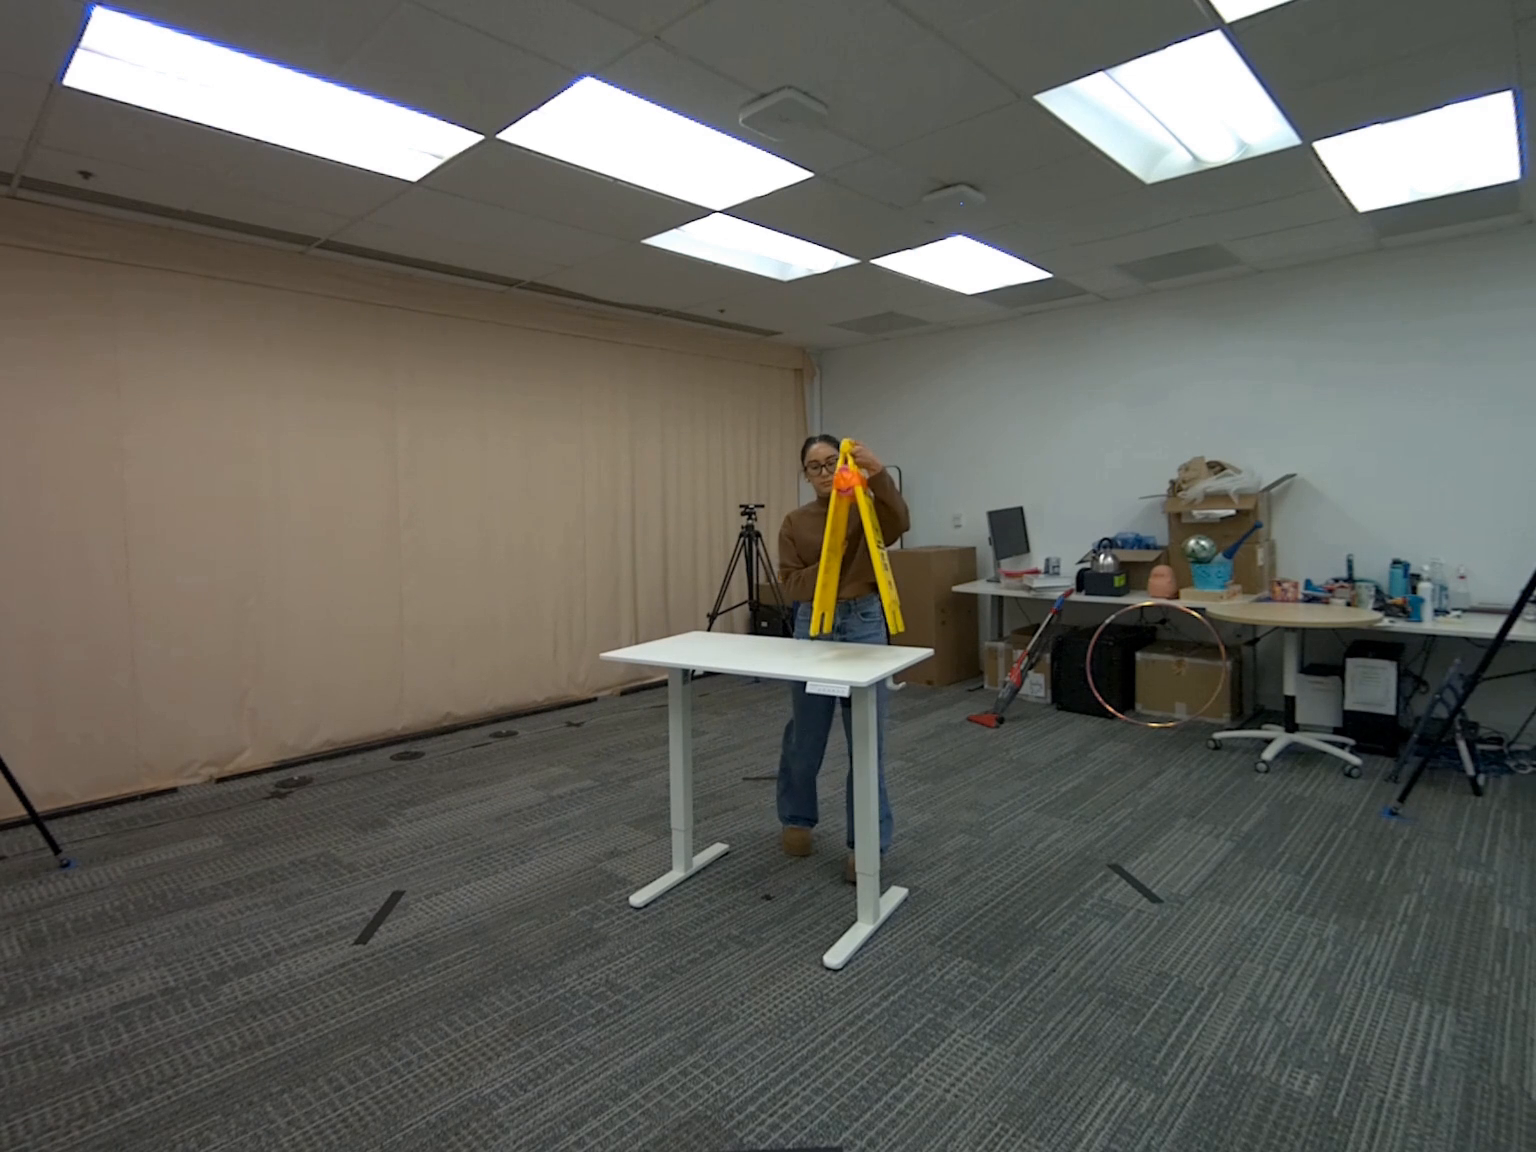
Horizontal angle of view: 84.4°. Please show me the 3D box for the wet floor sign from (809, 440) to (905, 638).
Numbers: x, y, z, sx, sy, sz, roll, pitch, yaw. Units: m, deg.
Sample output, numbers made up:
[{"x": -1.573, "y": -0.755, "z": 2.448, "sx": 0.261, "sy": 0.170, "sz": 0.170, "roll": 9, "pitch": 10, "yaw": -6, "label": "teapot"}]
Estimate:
[{"x": 0.297, "y": -0.128, "z": 2.862, "sx": 0.295, "sy": 0.647, "sz": 0.277, "roll": -3, "pitch": -3, "yaw": 17, "label": "wet floor sign"}]
